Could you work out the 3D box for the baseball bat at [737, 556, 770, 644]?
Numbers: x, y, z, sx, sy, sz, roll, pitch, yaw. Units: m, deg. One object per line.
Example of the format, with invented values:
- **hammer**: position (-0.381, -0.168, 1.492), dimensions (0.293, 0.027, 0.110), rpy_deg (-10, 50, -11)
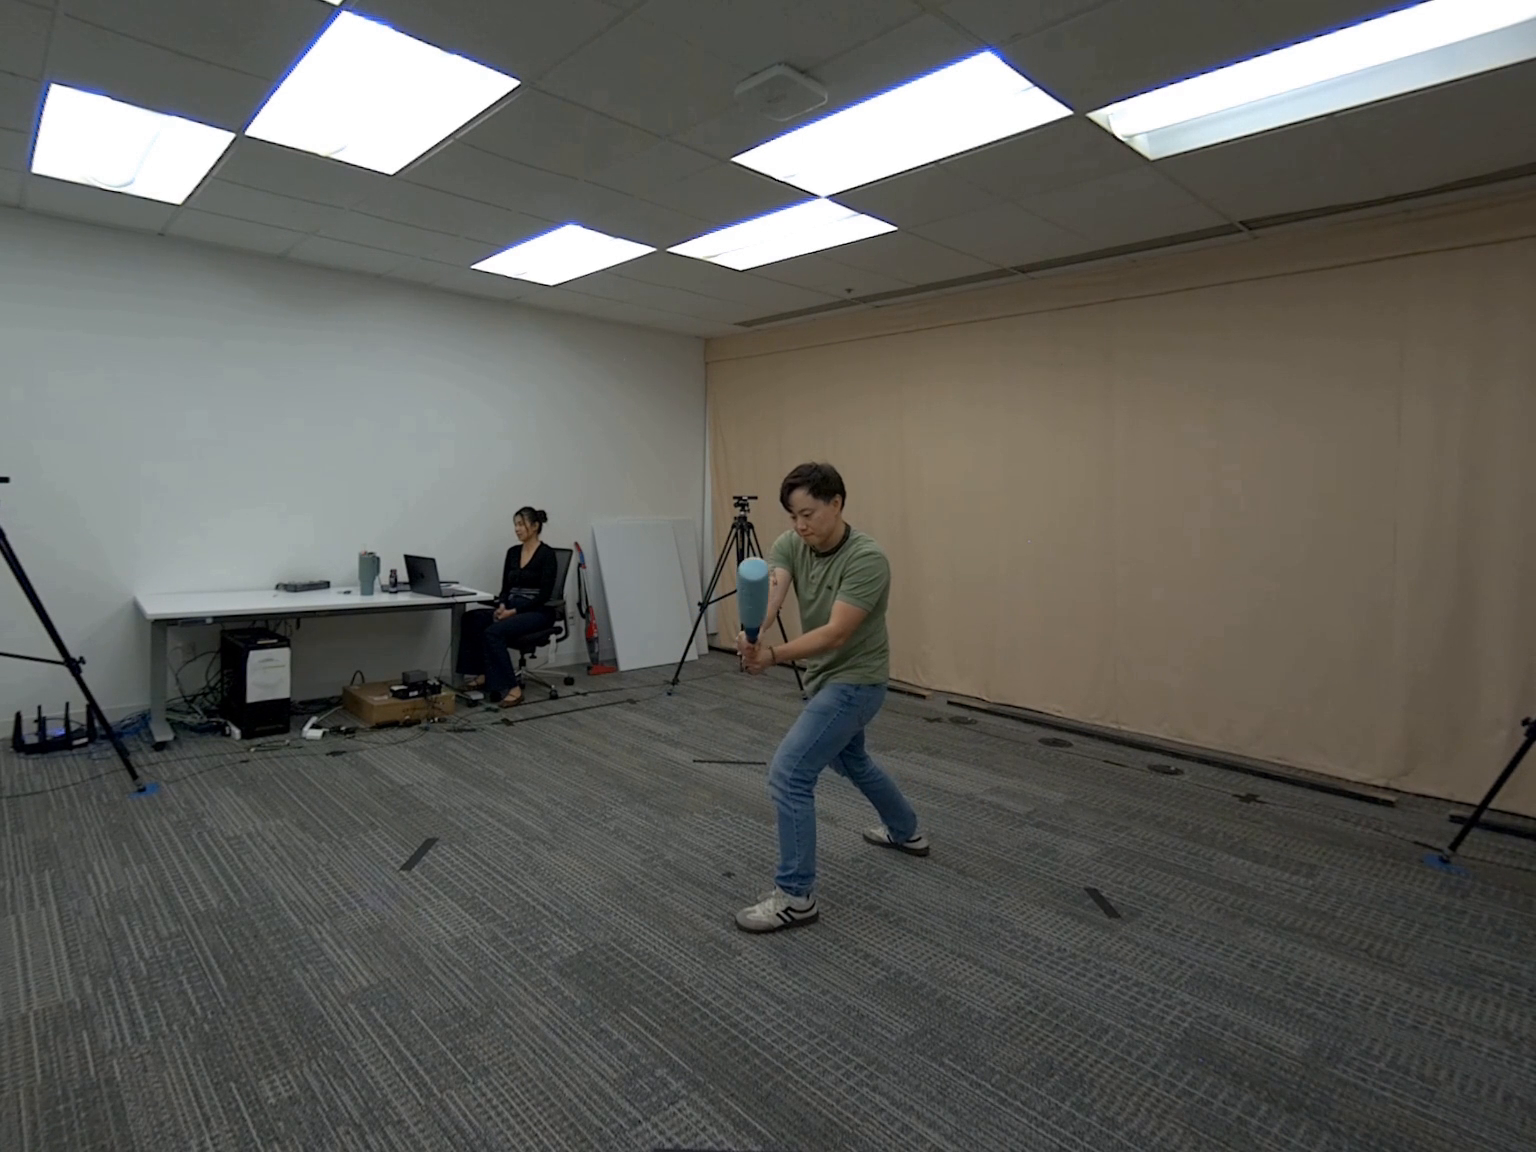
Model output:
- **baseball bat**: position (-0.052, 0.141, 2.448), dimensions (0.089, 0.091, 0.531), rpy_deg (2, -37, 0)
